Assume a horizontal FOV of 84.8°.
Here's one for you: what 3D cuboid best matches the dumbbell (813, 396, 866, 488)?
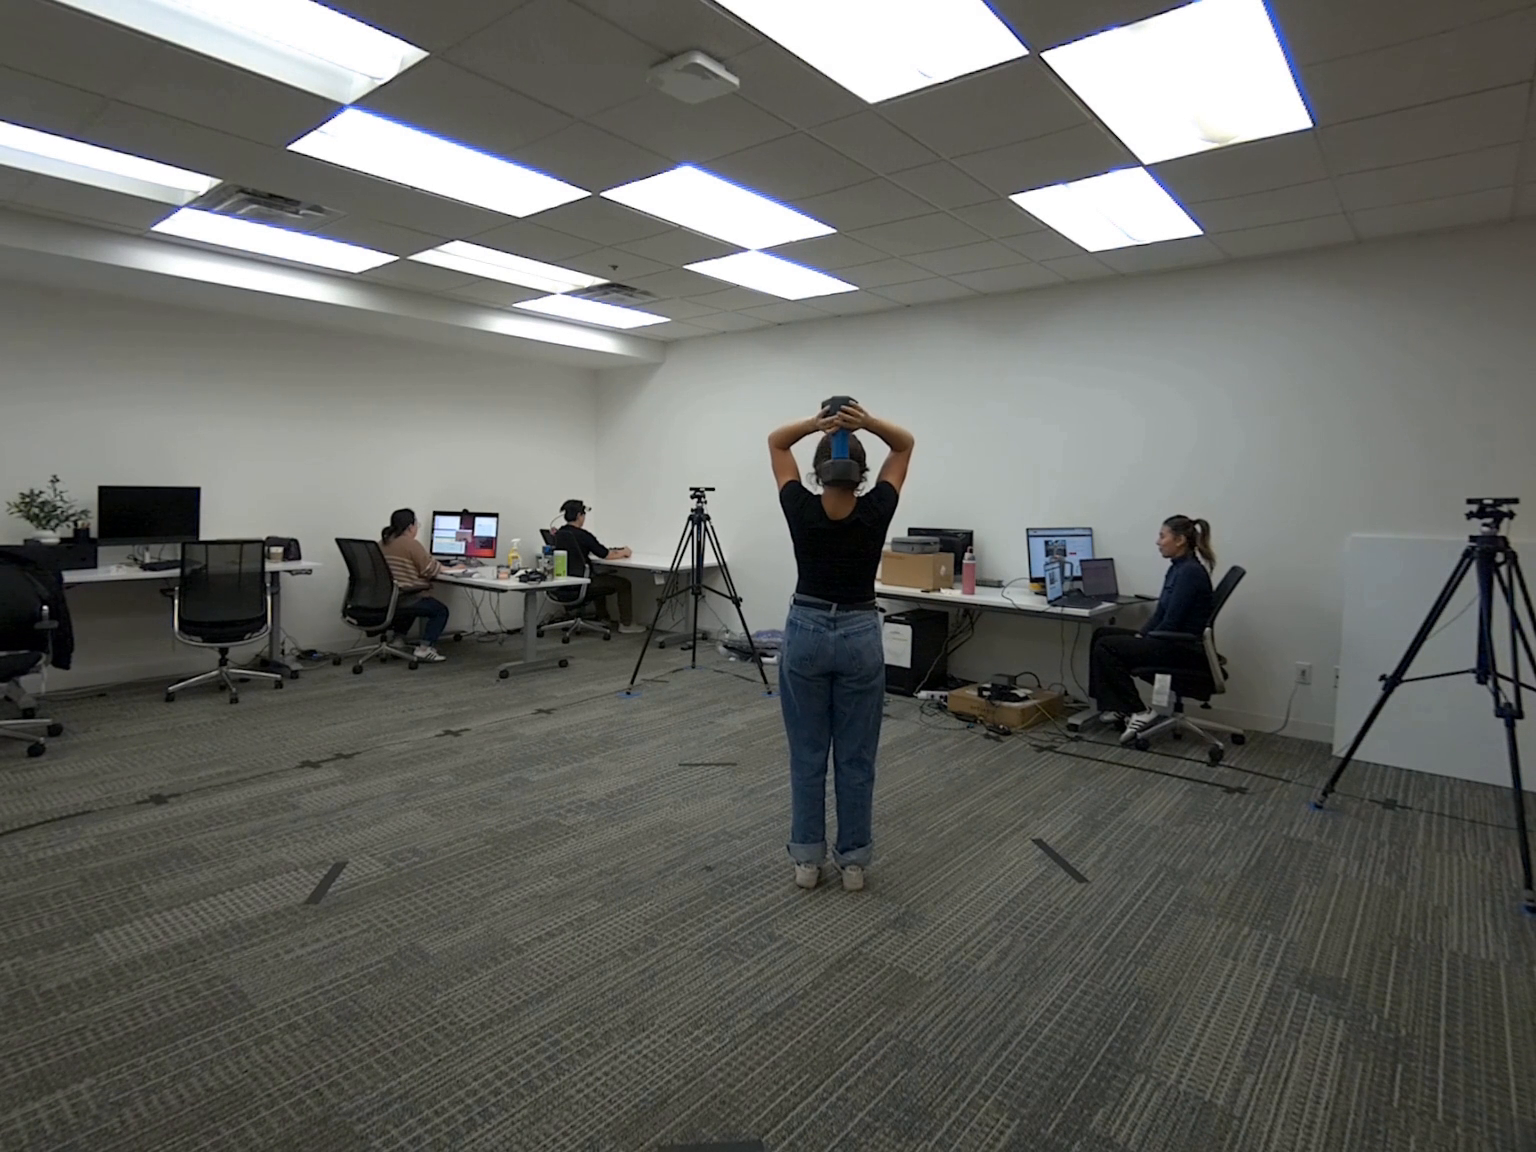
[{"bbox_3d":[0.234,-0.449,2.820,0.112,0.295,0.119,-5,-6,34],"label":"dumbbell"}]
